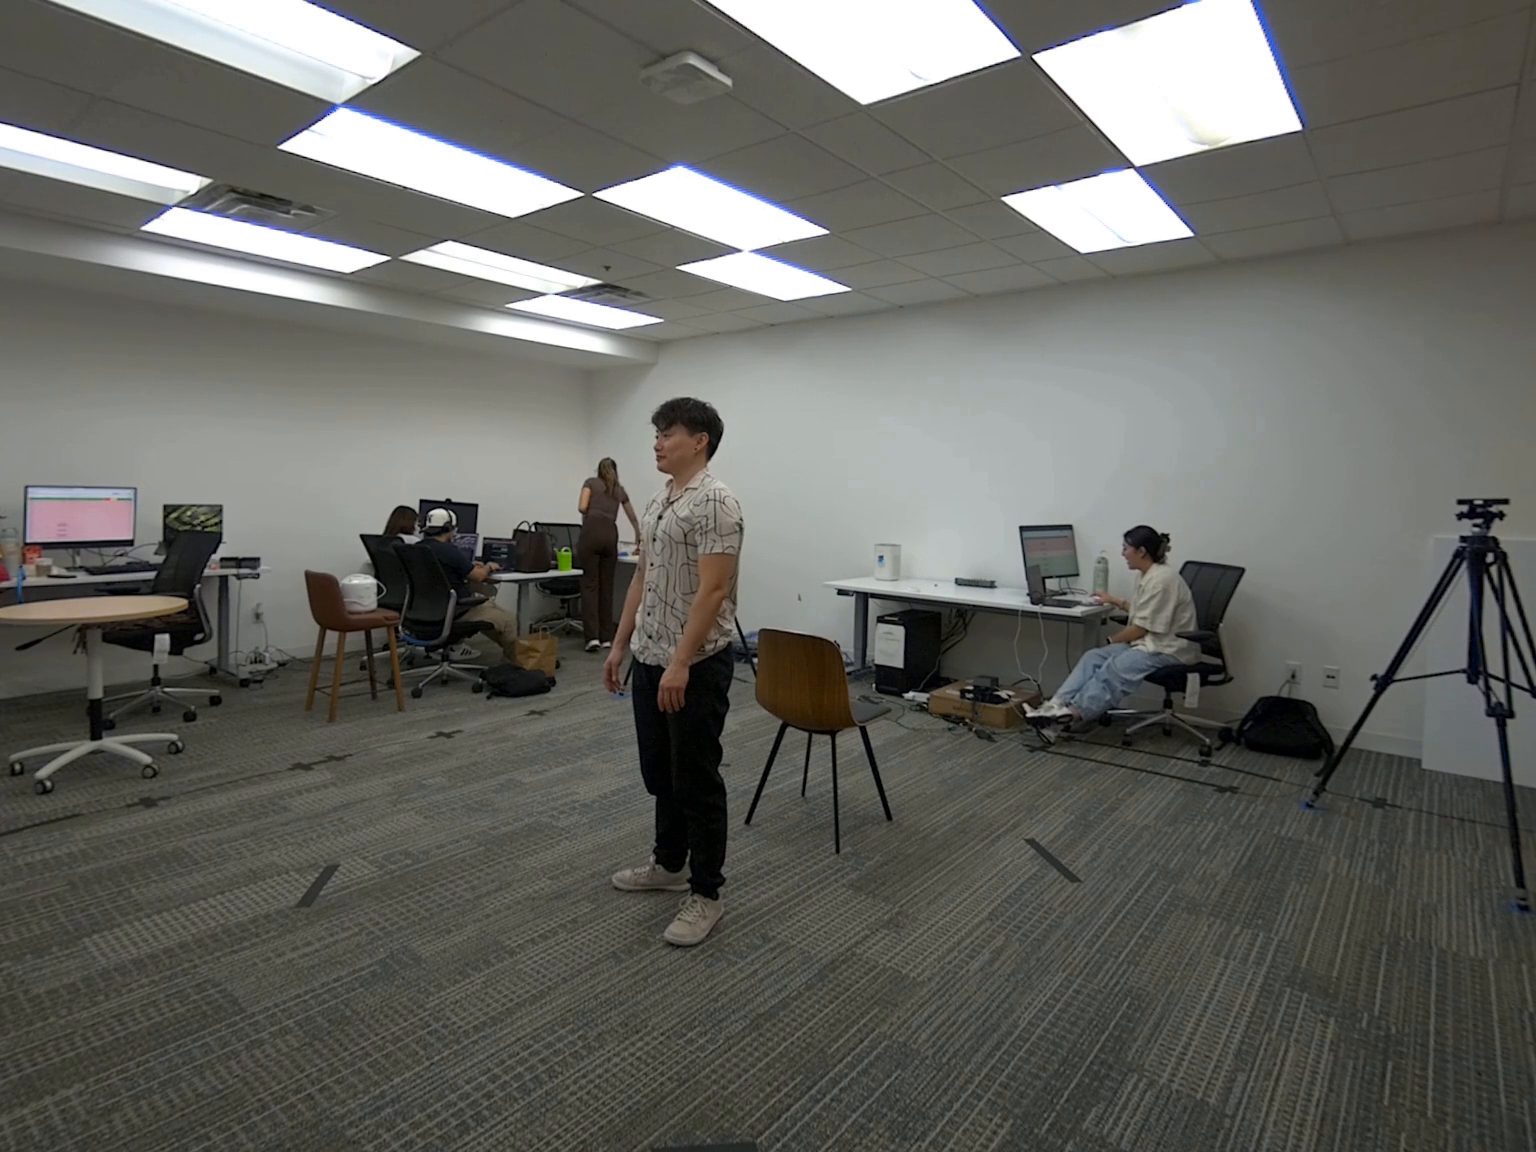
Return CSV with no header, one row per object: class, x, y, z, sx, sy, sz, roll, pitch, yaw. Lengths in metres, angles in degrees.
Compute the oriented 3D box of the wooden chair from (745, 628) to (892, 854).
wooden chair,0.218,0.606,3.559,0.493,0.872,0.510,3,8,36
